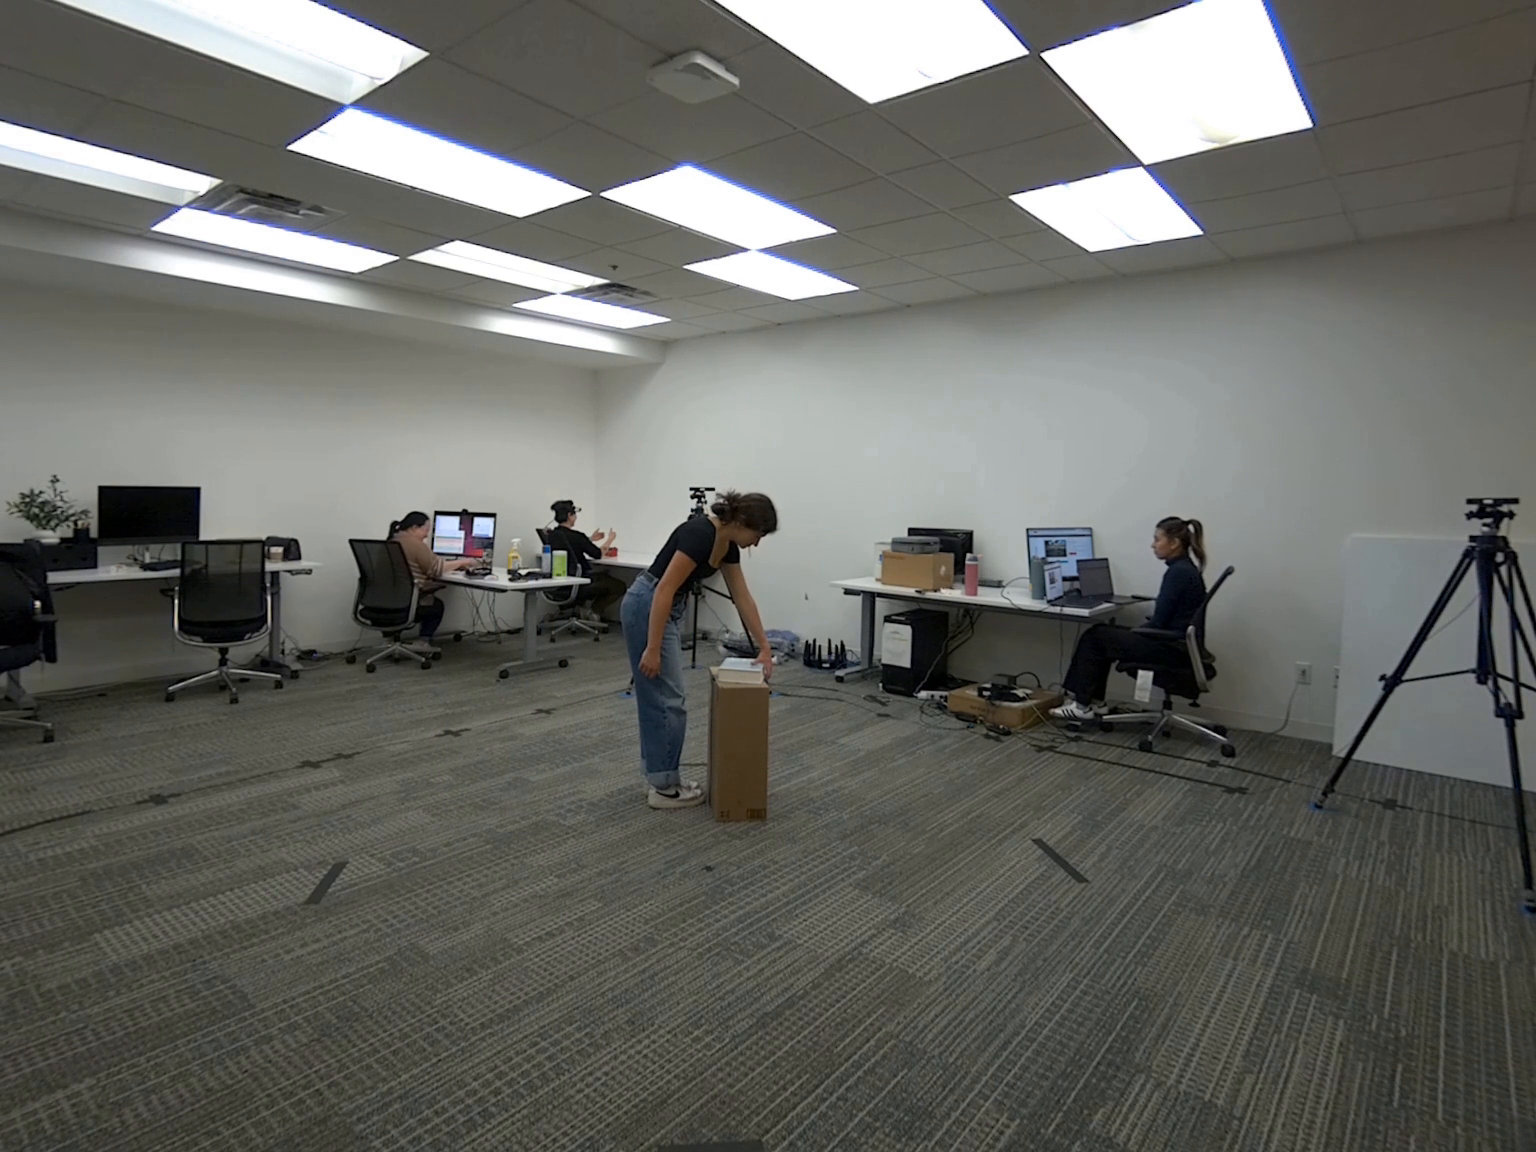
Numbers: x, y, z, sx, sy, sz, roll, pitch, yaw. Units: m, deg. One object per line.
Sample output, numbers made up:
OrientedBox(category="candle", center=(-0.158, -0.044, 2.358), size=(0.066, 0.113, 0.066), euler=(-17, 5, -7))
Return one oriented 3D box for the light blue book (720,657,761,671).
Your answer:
OrientedBox(category="light blue book", center=(-0.138, 0.418, 3.760), size=(0.193, 0.059, 0.260), euler=(3, 5, 5))
